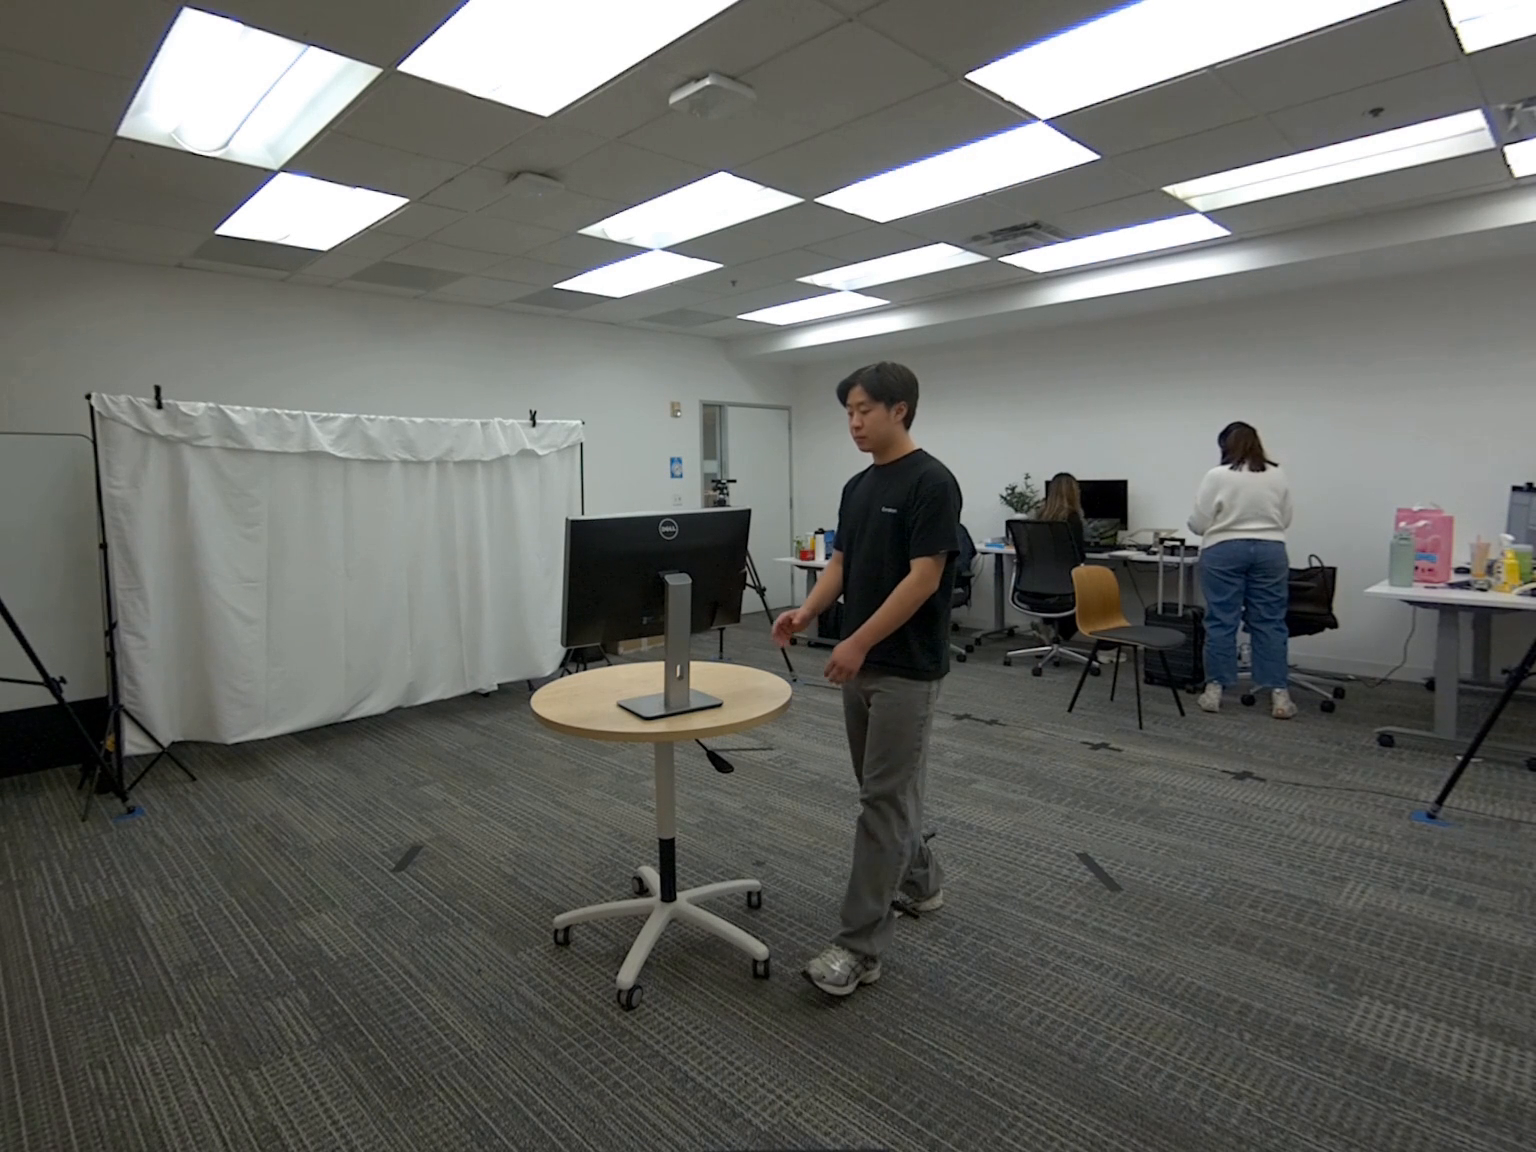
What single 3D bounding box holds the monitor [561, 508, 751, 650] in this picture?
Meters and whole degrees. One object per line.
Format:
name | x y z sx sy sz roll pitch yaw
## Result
monitor | -0.277 0.103 2.357 0.549 0.564 0.228 -4 3 -29
